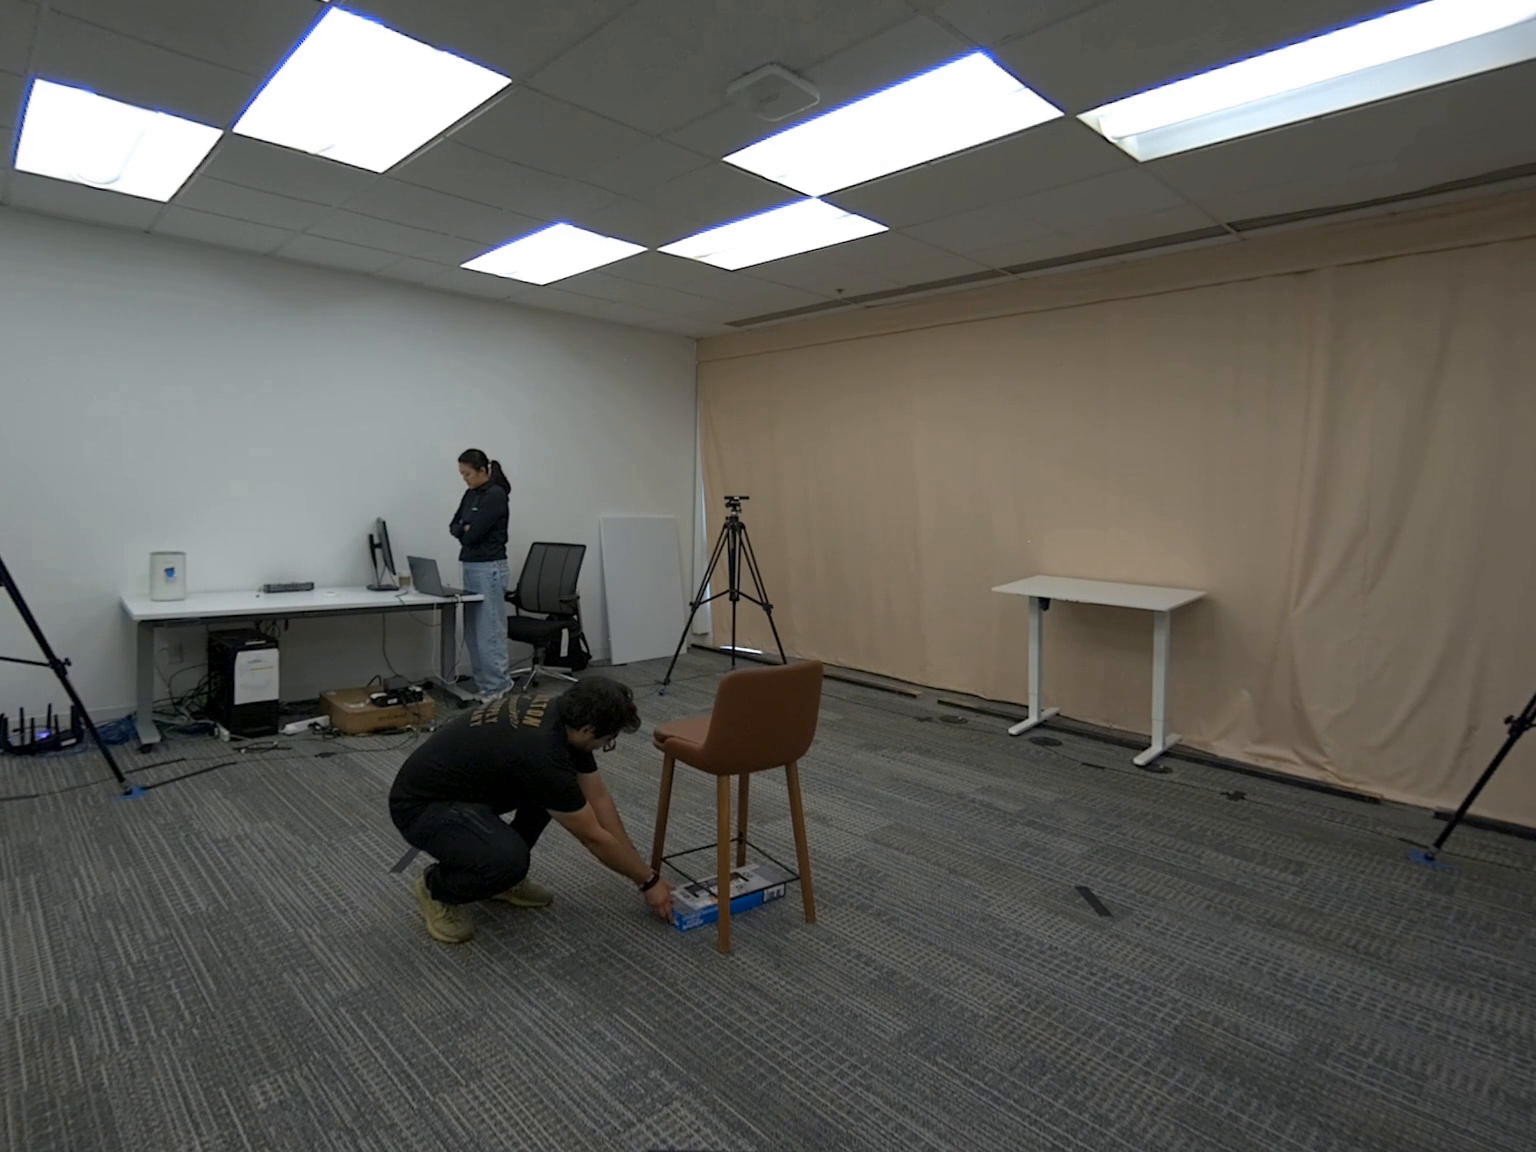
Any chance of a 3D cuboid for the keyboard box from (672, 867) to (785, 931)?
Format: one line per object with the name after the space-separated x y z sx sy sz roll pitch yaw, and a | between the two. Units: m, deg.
-0.173 1.099 2.880 0.427 0.059 0.180 -3 8 -37 | keyboard box
